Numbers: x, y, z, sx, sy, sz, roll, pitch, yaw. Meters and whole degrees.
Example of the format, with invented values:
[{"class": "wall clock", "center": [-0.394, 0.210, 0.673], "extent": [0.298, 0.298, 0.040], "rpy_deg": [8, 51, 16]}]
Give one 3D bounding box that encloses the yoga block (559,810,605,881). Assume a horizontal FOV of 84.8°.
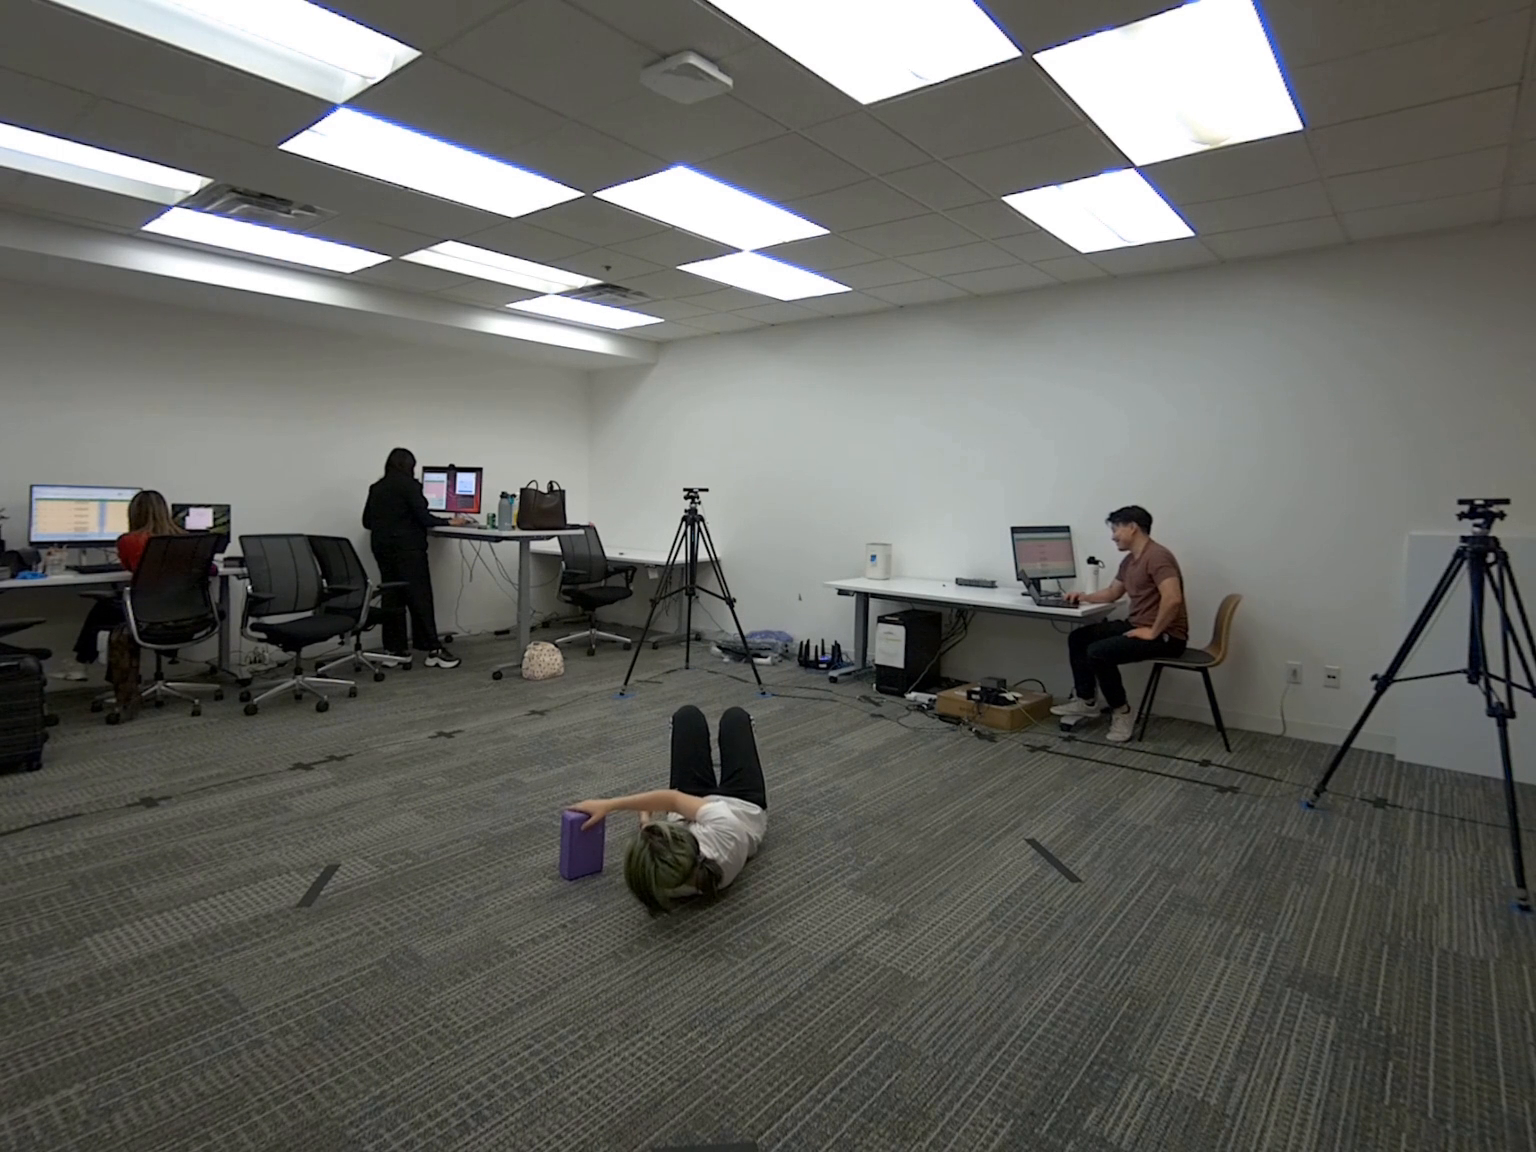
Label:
[{"class": "yoga block", "center": [-0.678, 0.951, 3.054], "extent": [0.144, 0.228, 0.079], "rpy_deg": [-1, 6, -42]}]
